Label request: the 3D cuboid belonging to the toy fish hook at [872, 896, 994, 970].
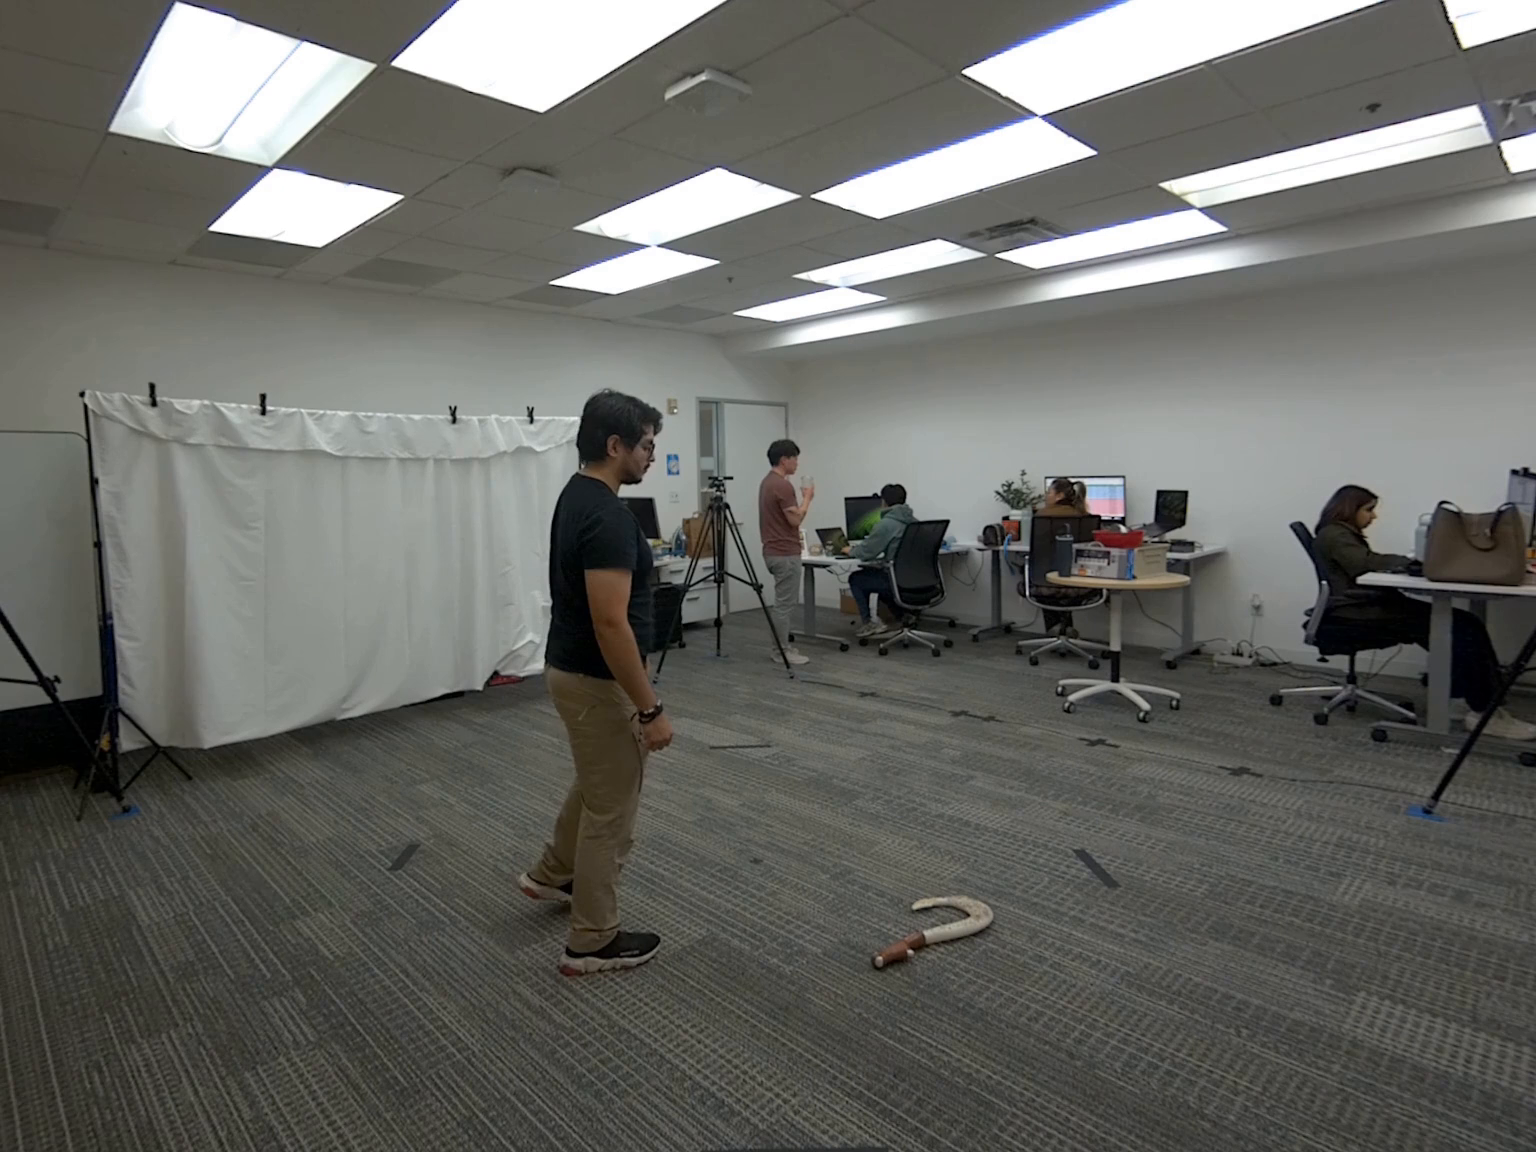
[{"bbox_3d":[0.475,1.071,2.595,0.494,0.048,0.230,-5,1,-35],"label":"toy fish hook"}]
